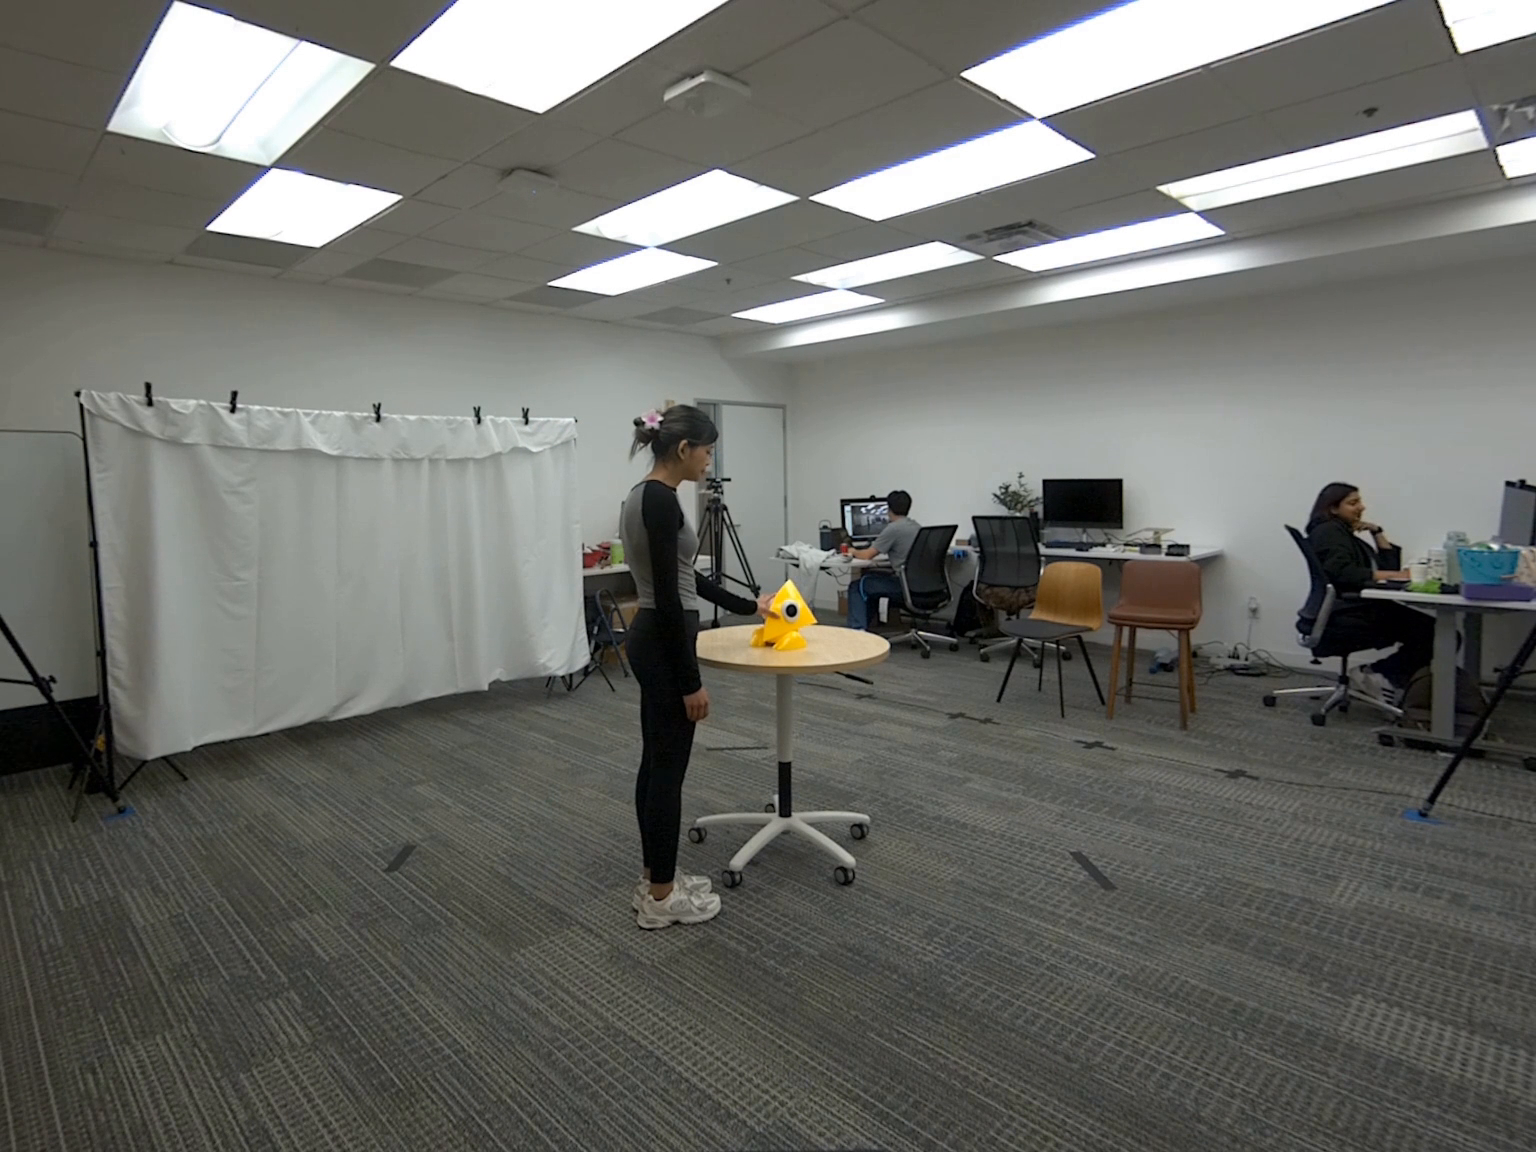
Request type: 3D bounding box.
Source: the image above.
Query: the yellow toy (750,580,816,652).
[{"bbox_3d":[0.048,0.136,3.098,0.211,0.229,0.188,4,7,42],"label":"yellow toy"}]
